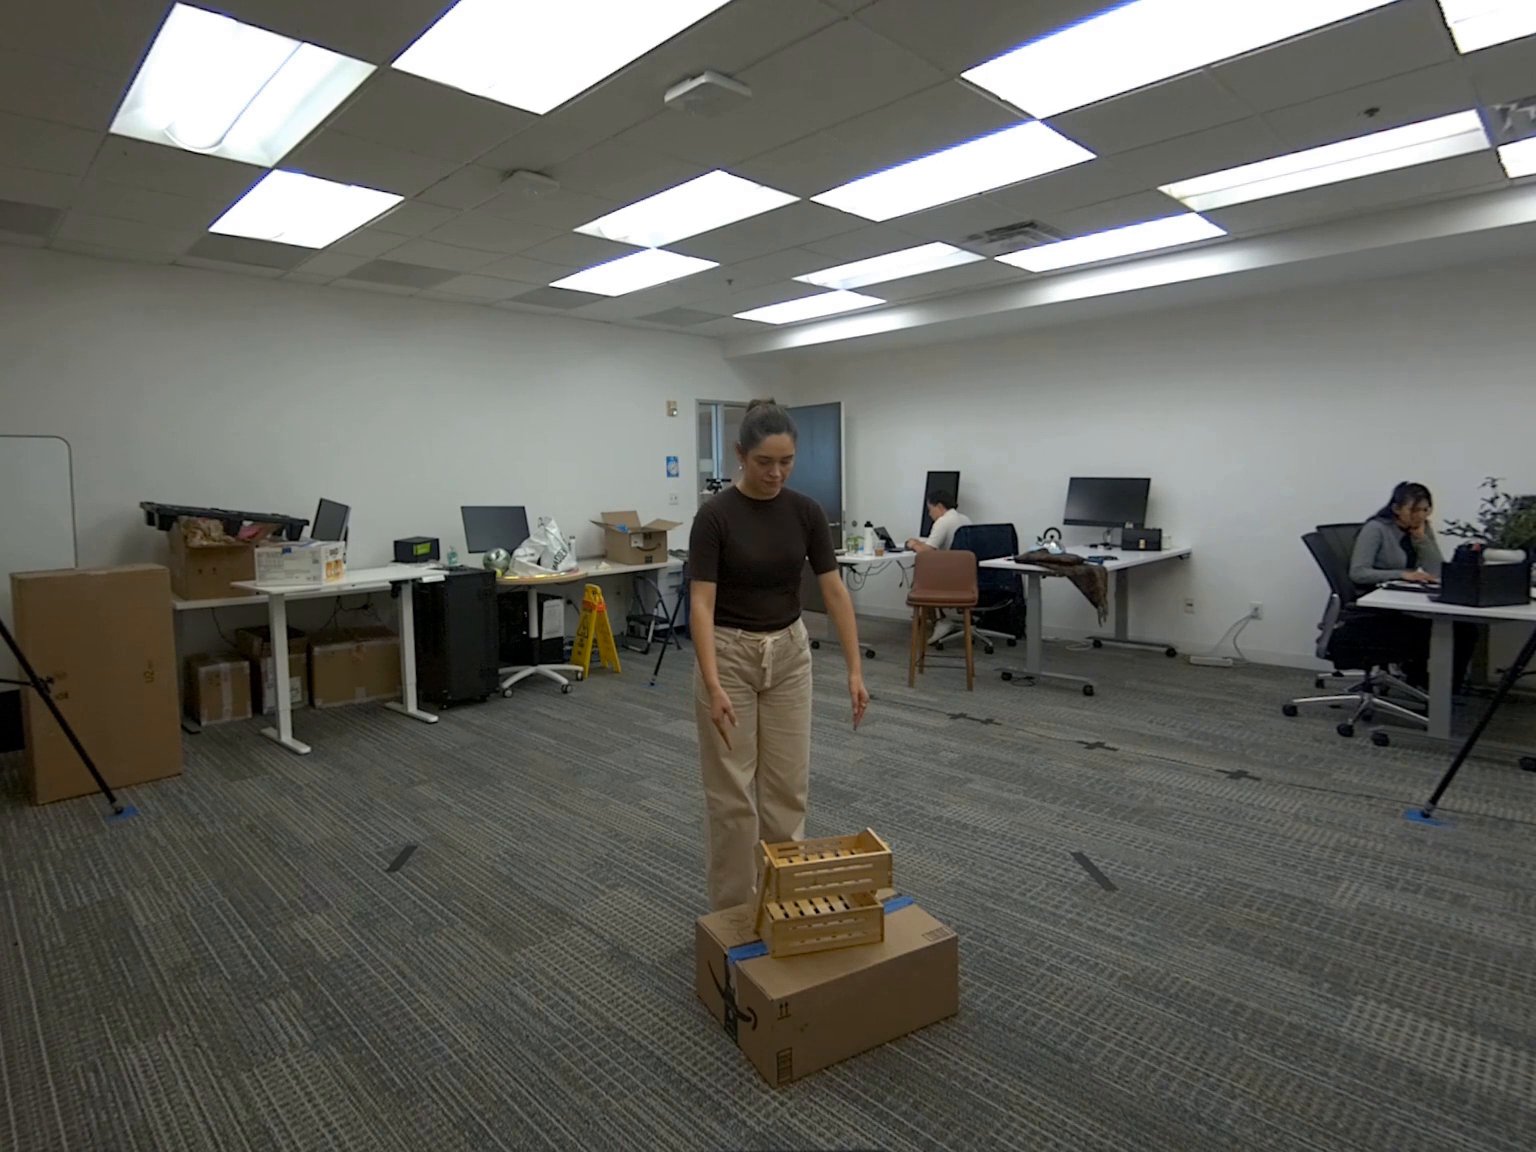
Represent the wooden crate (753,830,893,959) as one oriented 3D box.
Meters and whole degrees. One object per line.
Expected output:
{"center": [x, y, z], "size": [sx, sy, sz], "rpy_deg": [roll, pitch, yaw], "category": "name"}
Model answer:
{"center": [0.130, 0.796, 2.241], "size": [0.320, 0.272, 0.307], "rpy_deg": [-3, 7, -14], "category": "wooden crate"}
